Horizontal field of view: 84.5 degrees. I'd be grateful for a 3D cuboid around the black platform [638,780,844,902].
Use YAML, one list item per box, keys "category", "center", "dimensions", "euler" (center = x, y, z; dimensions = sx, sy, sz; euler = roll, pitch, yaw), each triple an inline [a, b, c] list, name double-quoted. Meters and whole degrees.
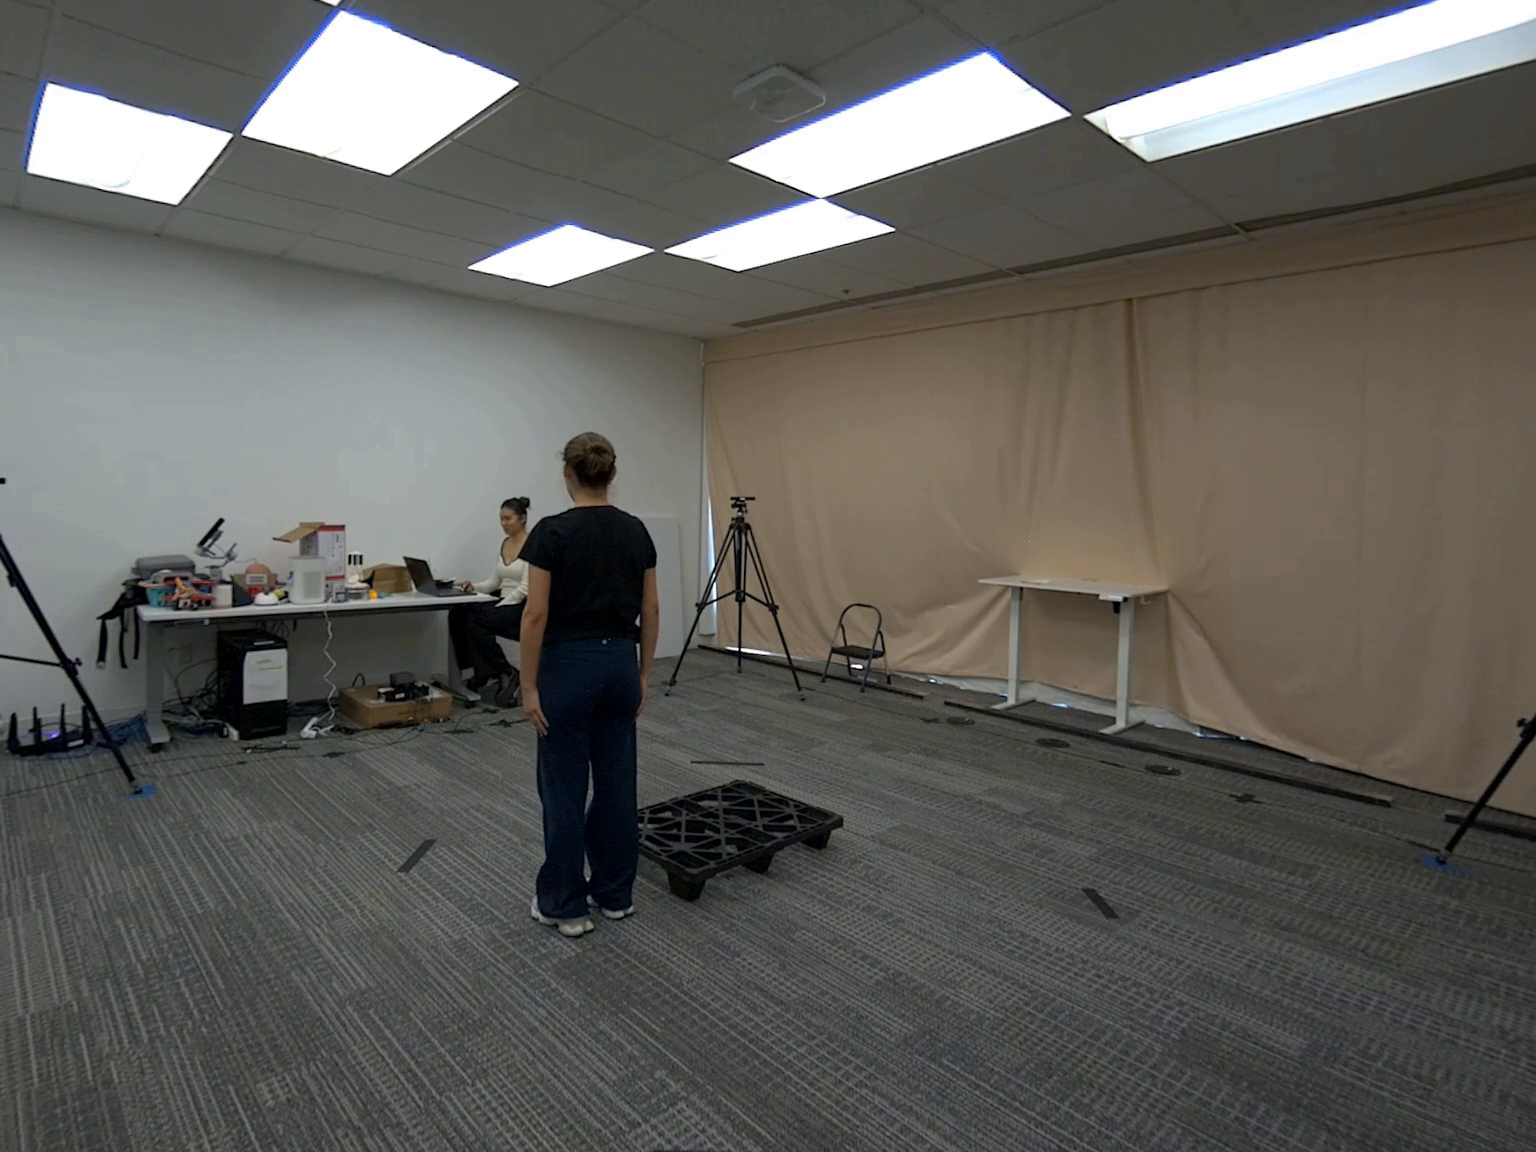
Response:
- category: "black platform"
  center: [-0.192, 1.026, 3.296]
  dimensions: [0.787, 0.143, 0.620]
  euler: [-3, 6, -45]
